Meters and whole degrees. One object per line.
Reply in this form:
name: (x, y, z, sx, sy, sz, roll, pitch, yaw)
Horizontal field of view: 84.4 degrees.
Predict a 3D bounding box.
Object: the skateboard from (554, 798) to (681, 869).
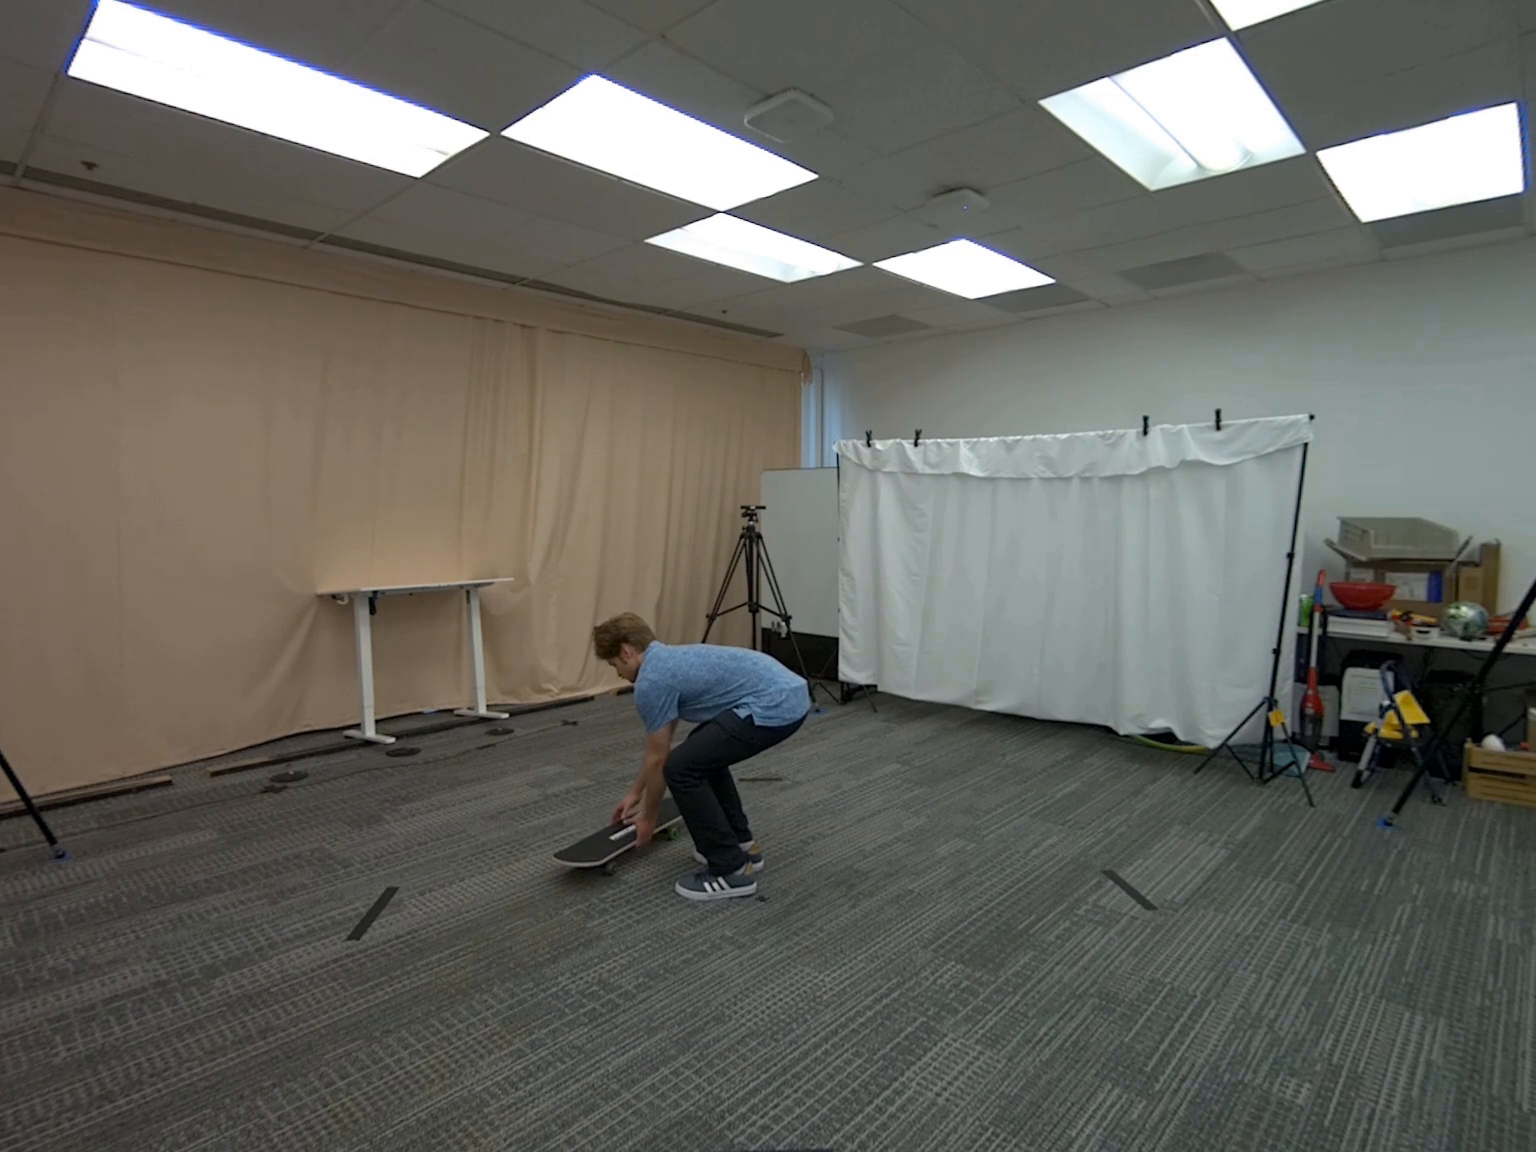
skateboard: (-0.565, 1.055, 3.392, 0.199, 0.110, 0.765, 1, 5, 29)
